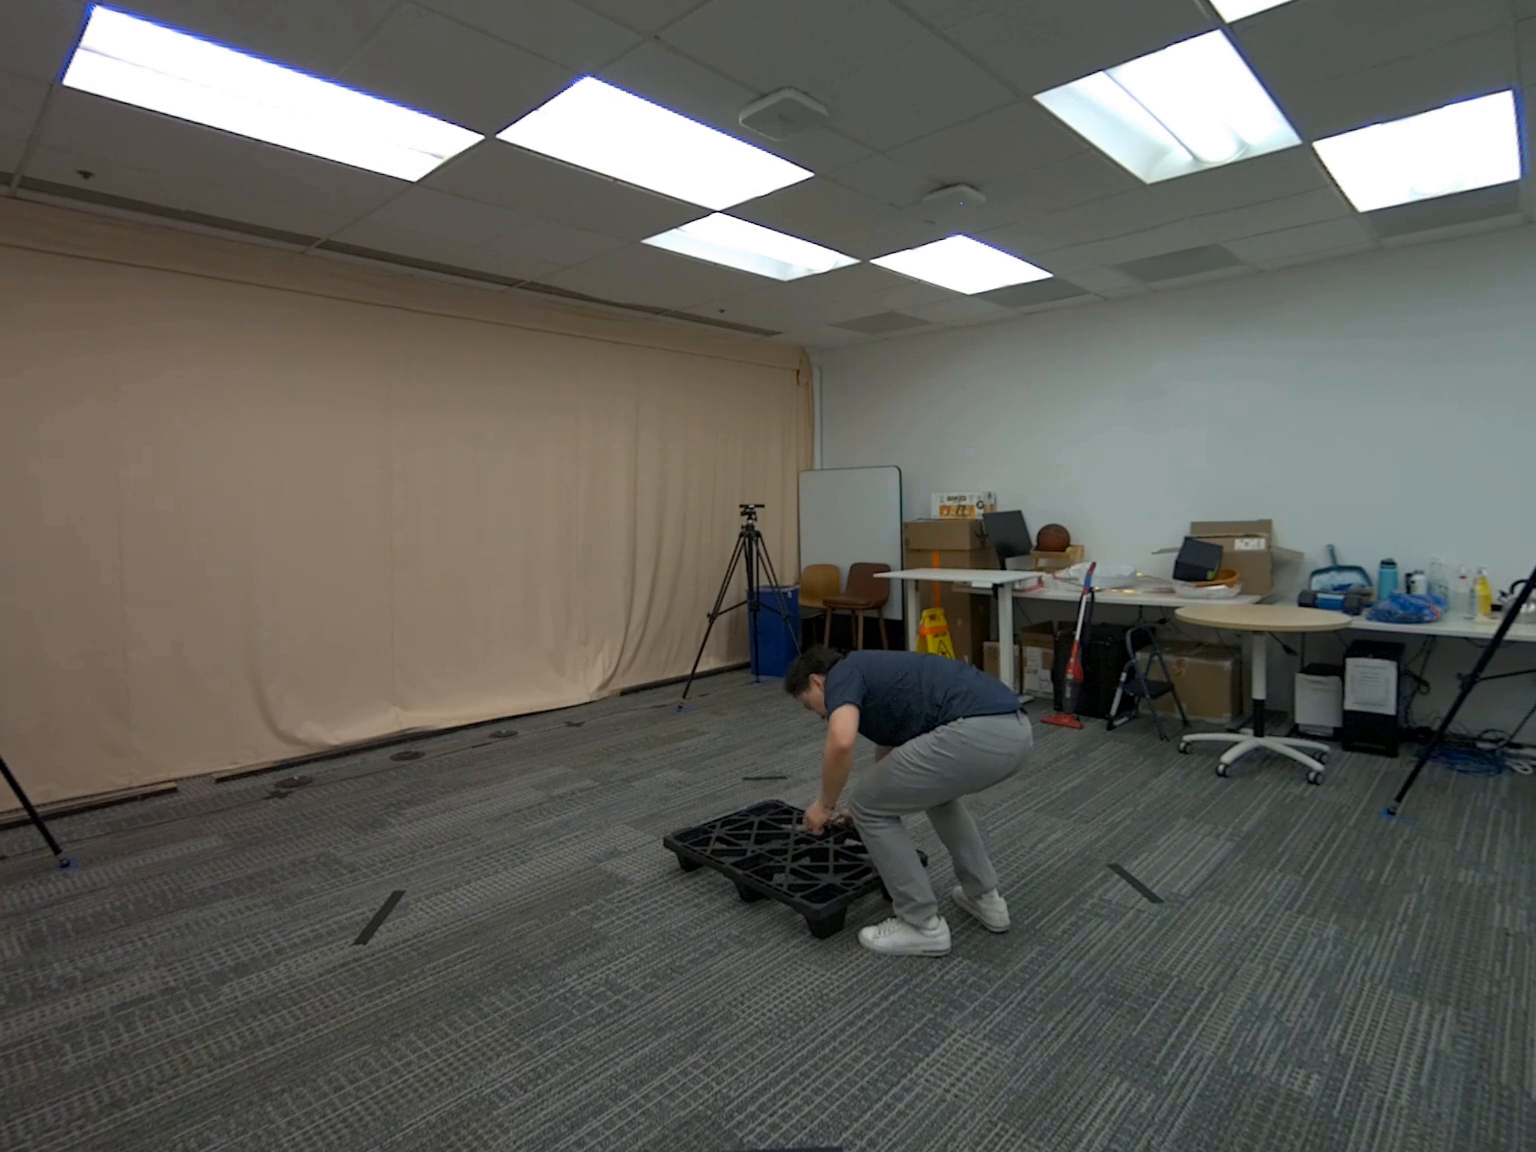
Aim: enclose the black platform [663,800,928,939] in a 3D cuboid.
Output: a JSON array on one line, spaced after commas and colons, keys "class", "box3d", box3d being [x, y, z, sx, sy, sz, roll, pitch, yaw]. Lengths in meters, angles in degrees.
[{"class": "black platform", "box3d": [0.086, 1.060, 3.113, 0.587, 0.143, 0.832, -5, 7, -43]}]
